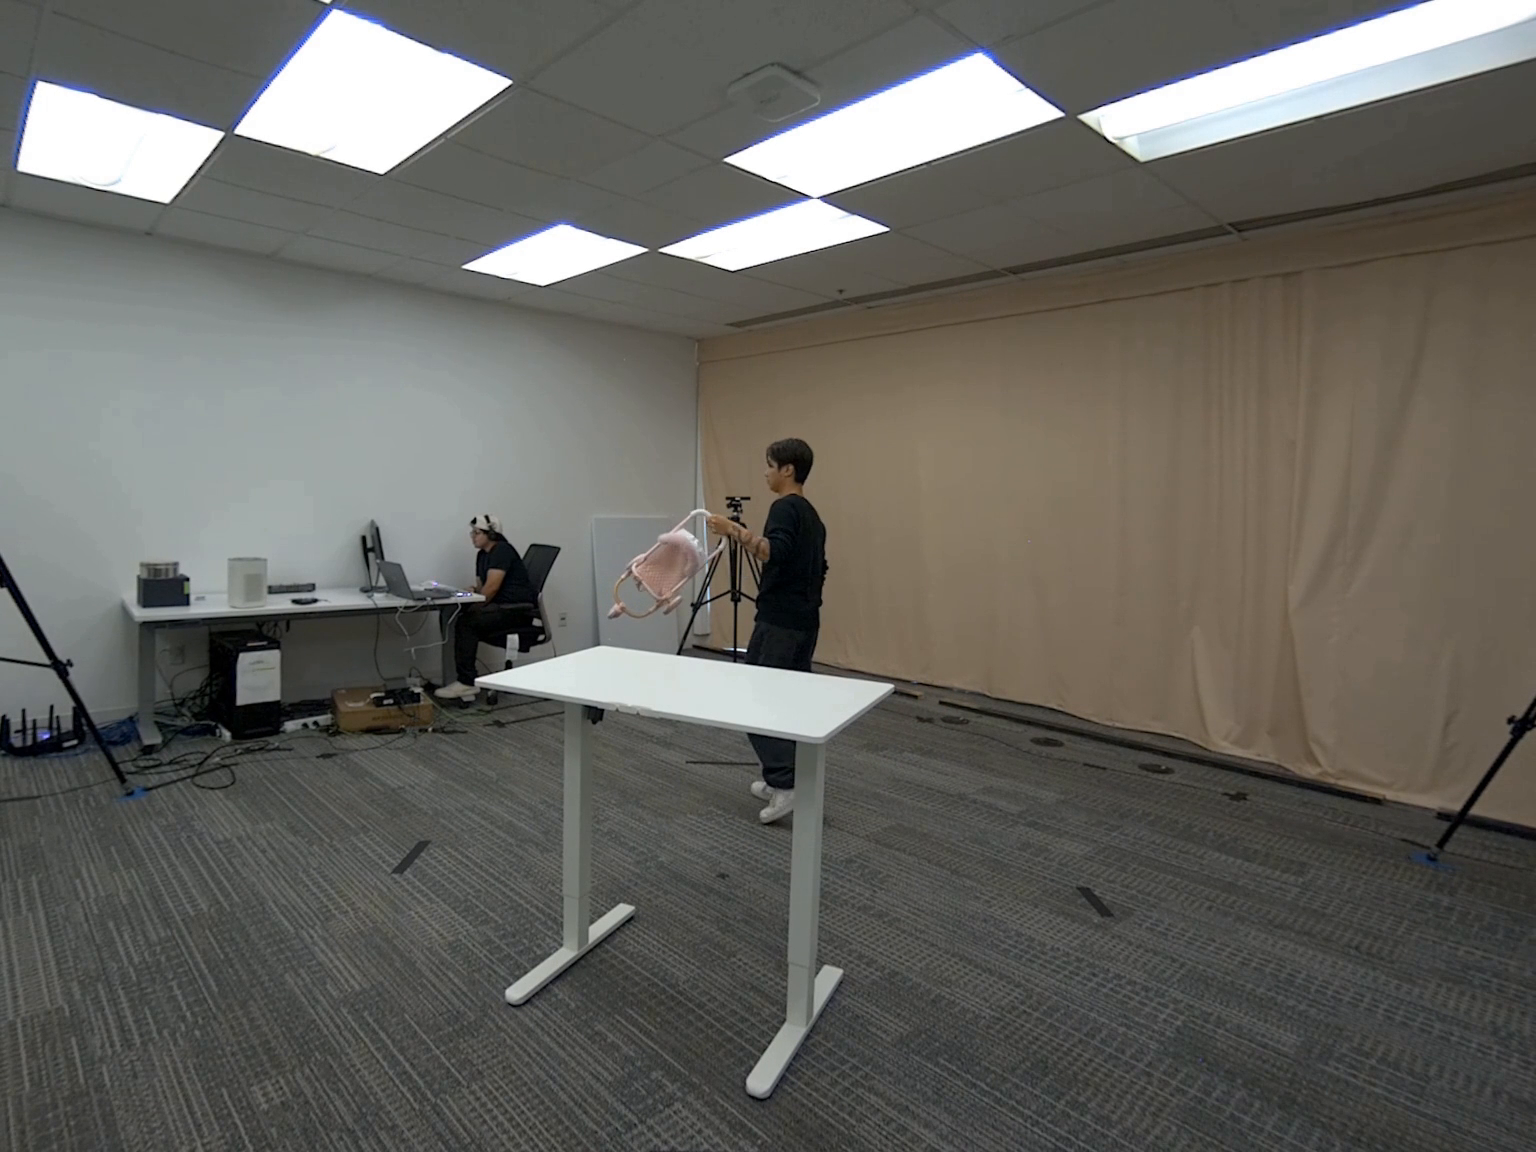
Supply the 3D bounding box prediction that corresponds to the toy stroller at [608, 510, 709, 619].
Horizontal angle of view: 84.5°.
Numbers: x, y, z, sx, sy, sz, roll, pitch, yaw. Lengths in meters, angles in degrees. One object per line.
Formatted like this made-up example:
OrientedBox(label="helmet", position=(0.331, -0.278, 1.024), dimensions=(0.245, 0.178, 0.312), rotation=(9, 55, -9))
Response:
OrientedBox(label="toy stroller", position=(-0.453, -0.020, 3.557), dimensions=(0.536, 0.283, 0.339), rotation=(-41, -4, 30))
